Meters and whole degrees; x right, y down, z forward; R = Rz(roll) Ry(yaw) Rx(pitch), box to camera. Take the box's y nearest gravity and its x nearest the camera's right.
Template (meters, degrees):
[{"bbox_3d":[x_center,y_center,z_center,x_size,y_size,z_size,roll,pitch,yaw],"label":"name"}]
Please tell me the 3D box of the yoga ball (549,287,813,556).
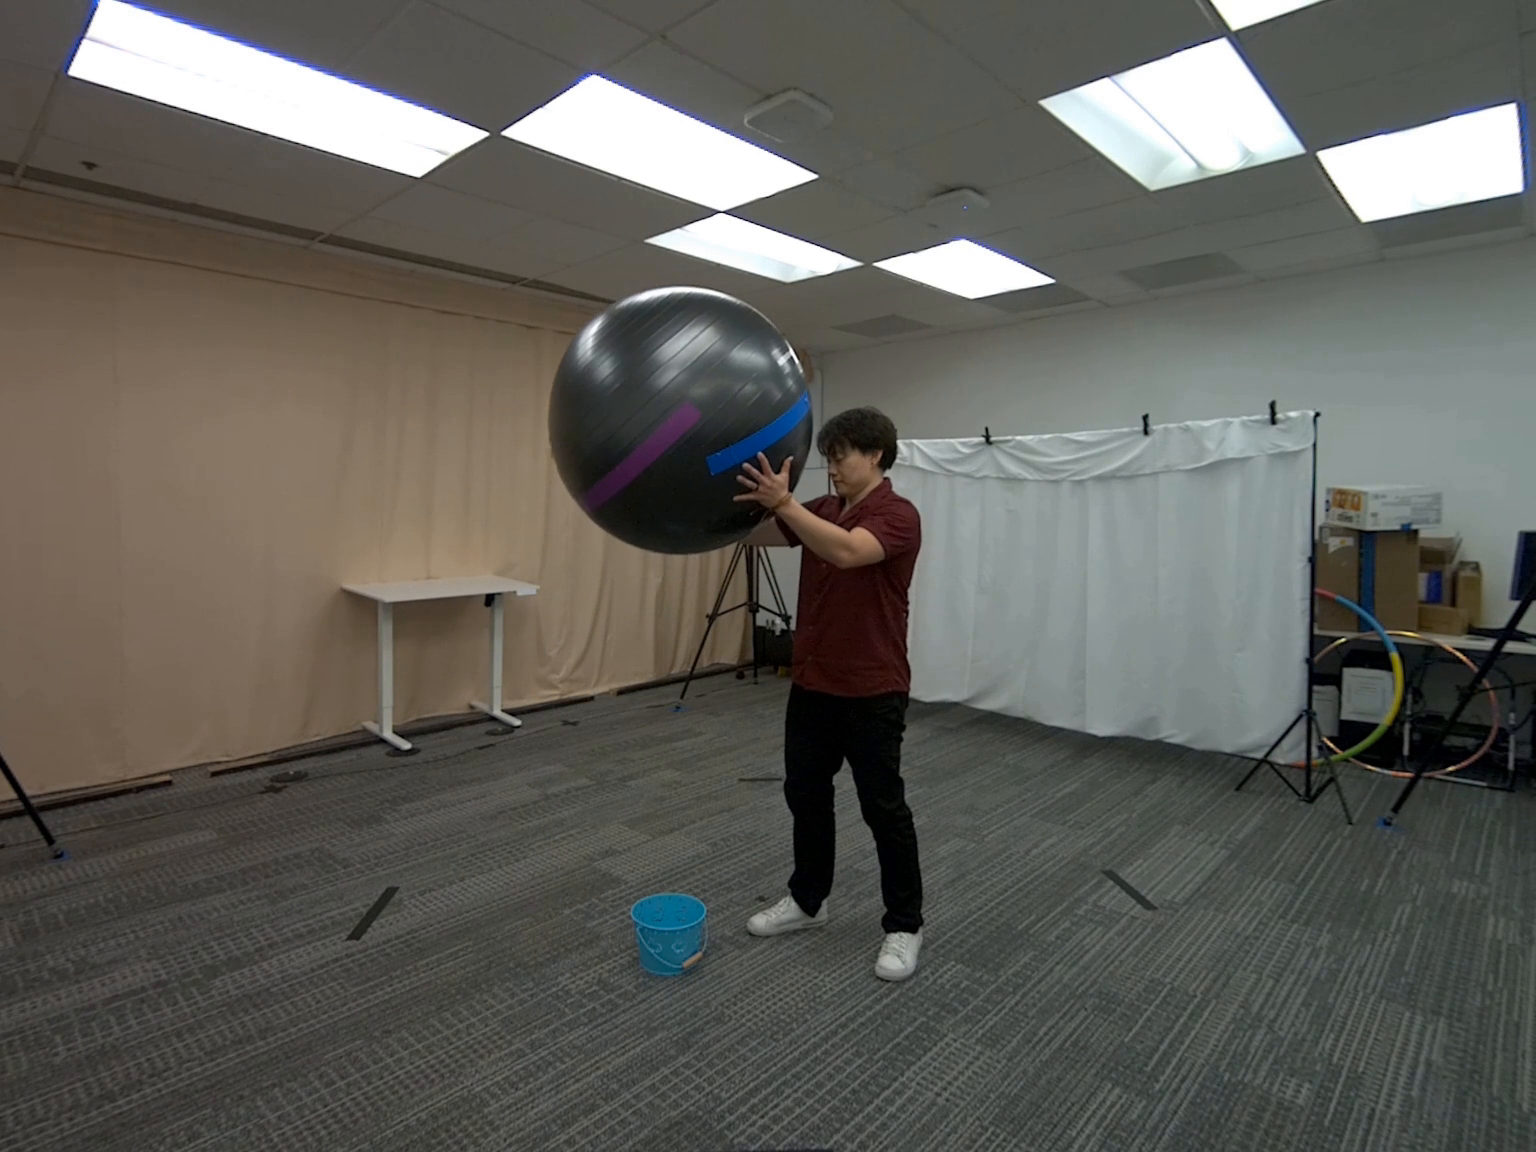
[{"bbox_3d":[-0.249,-0.432,2.426,0.757,0.756,0.760,0,4,-2],"label":"yoga ball"}]
